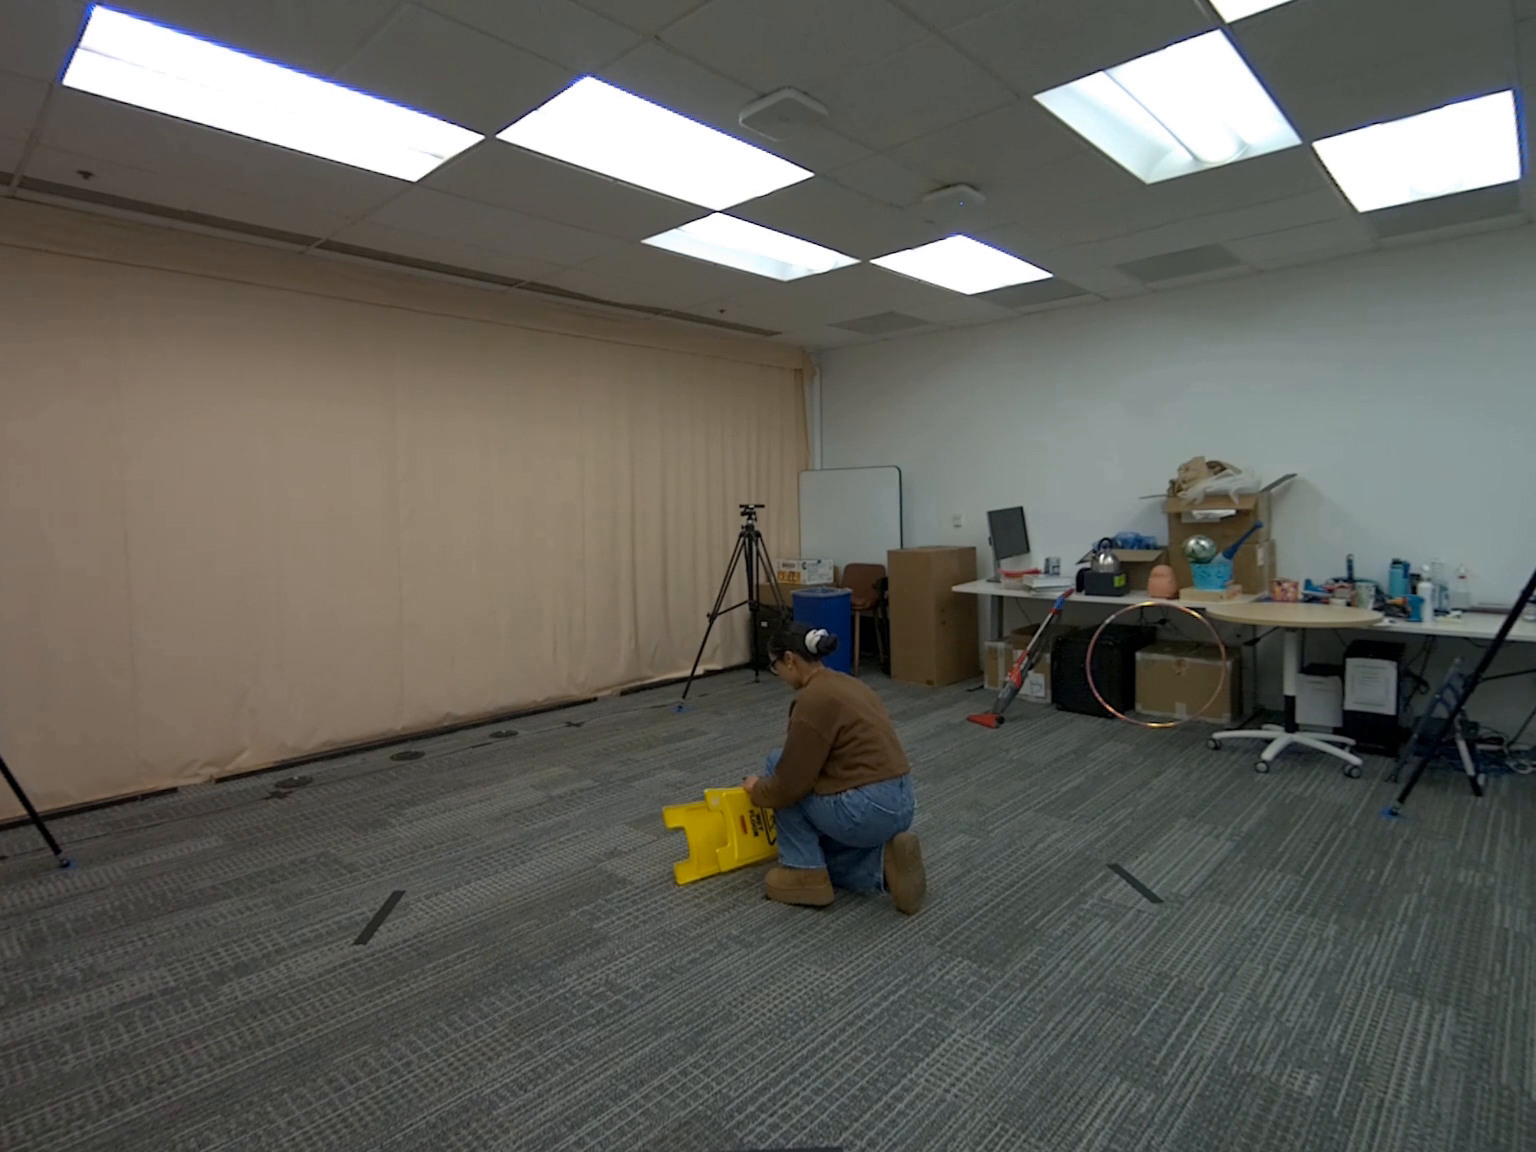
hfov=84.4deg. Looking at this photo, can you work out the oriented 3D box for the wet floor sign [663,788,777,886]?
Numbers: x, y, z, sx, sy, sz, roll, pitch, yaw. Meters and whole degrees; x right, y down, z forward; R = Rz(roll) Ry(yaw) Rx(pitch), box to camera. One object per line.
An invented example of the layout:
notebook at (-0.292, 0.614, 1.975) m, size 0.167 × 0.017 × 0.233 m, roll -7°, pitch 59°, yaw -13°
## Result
wet floor sign at (-0.042, 0.957, 3.242) m, size 0.625 × 0.287 × 0.294 m, roll 2°, pitch -26°, yaw -39°
